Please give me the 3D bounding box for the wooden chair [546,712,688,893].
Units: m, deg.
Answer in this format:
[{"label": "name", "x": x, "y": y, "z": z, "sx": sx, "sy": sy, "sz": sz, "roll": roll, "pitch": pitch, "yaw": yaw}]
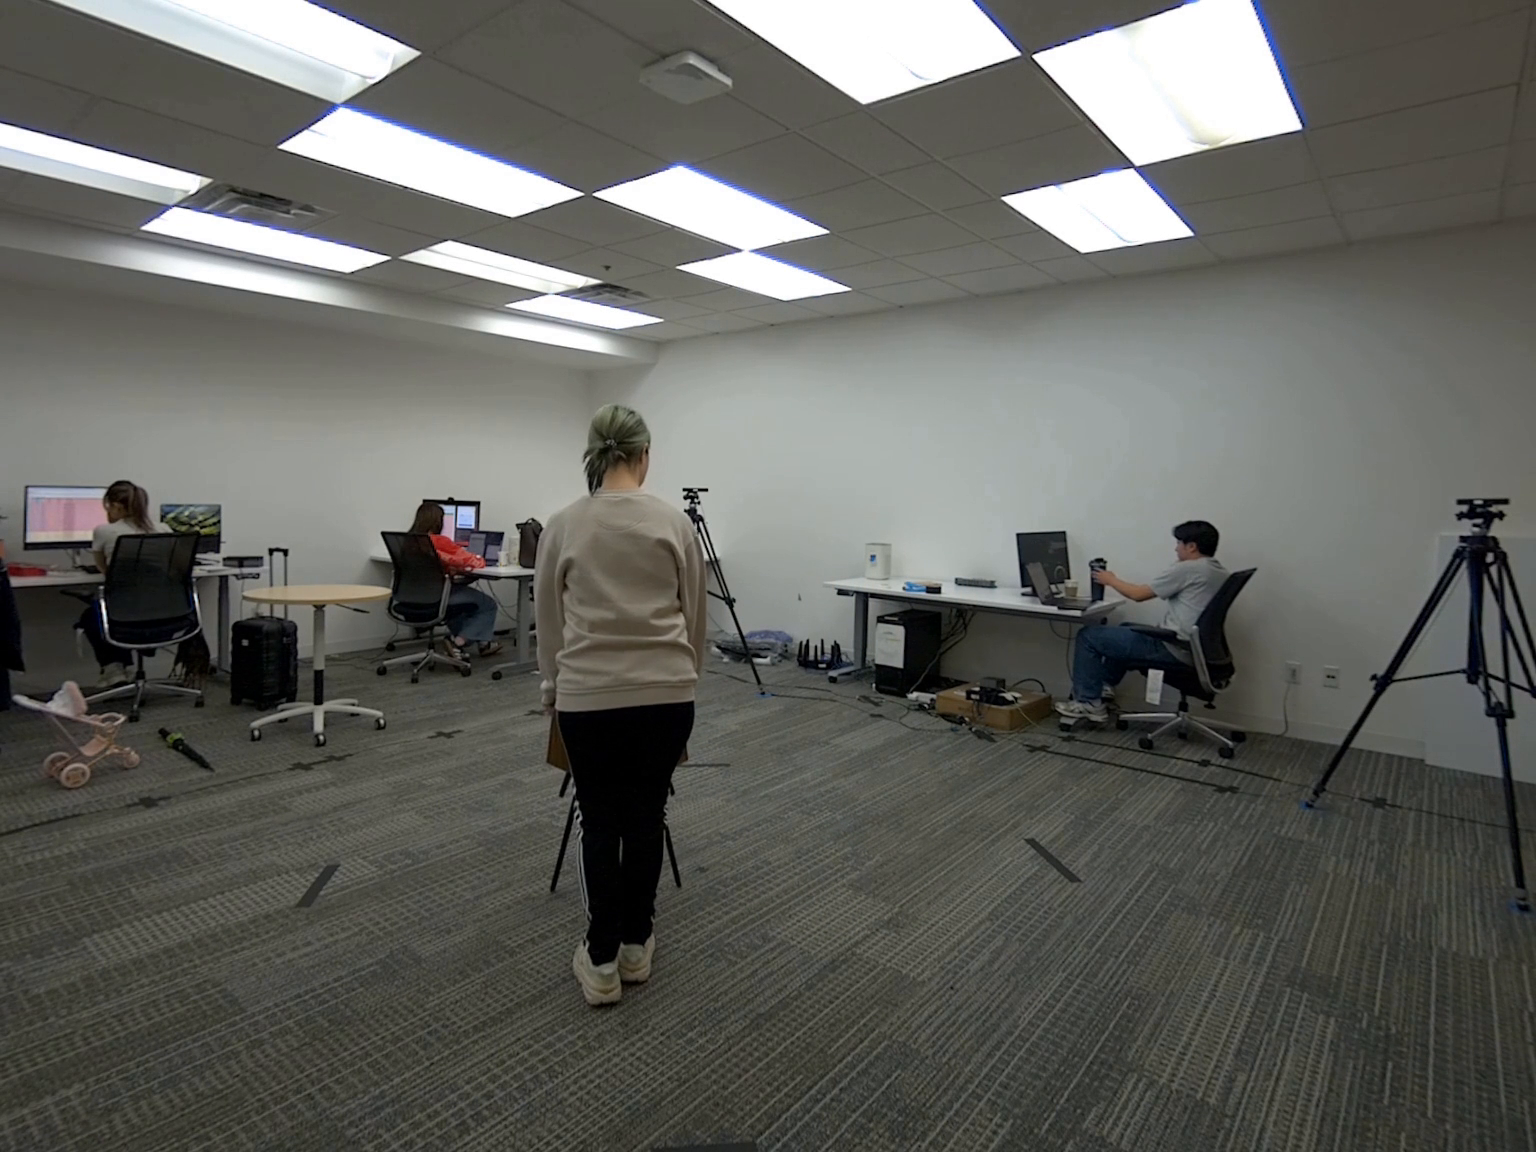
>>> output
[{"label": "wooden chair", "x": -0.529, "y": 0.590, "z": 2.953, "sx": 0.474, "sy": 0.857, "sz": 0.540, "roll": 1, "pitch": 32, "yaw": -9}]
